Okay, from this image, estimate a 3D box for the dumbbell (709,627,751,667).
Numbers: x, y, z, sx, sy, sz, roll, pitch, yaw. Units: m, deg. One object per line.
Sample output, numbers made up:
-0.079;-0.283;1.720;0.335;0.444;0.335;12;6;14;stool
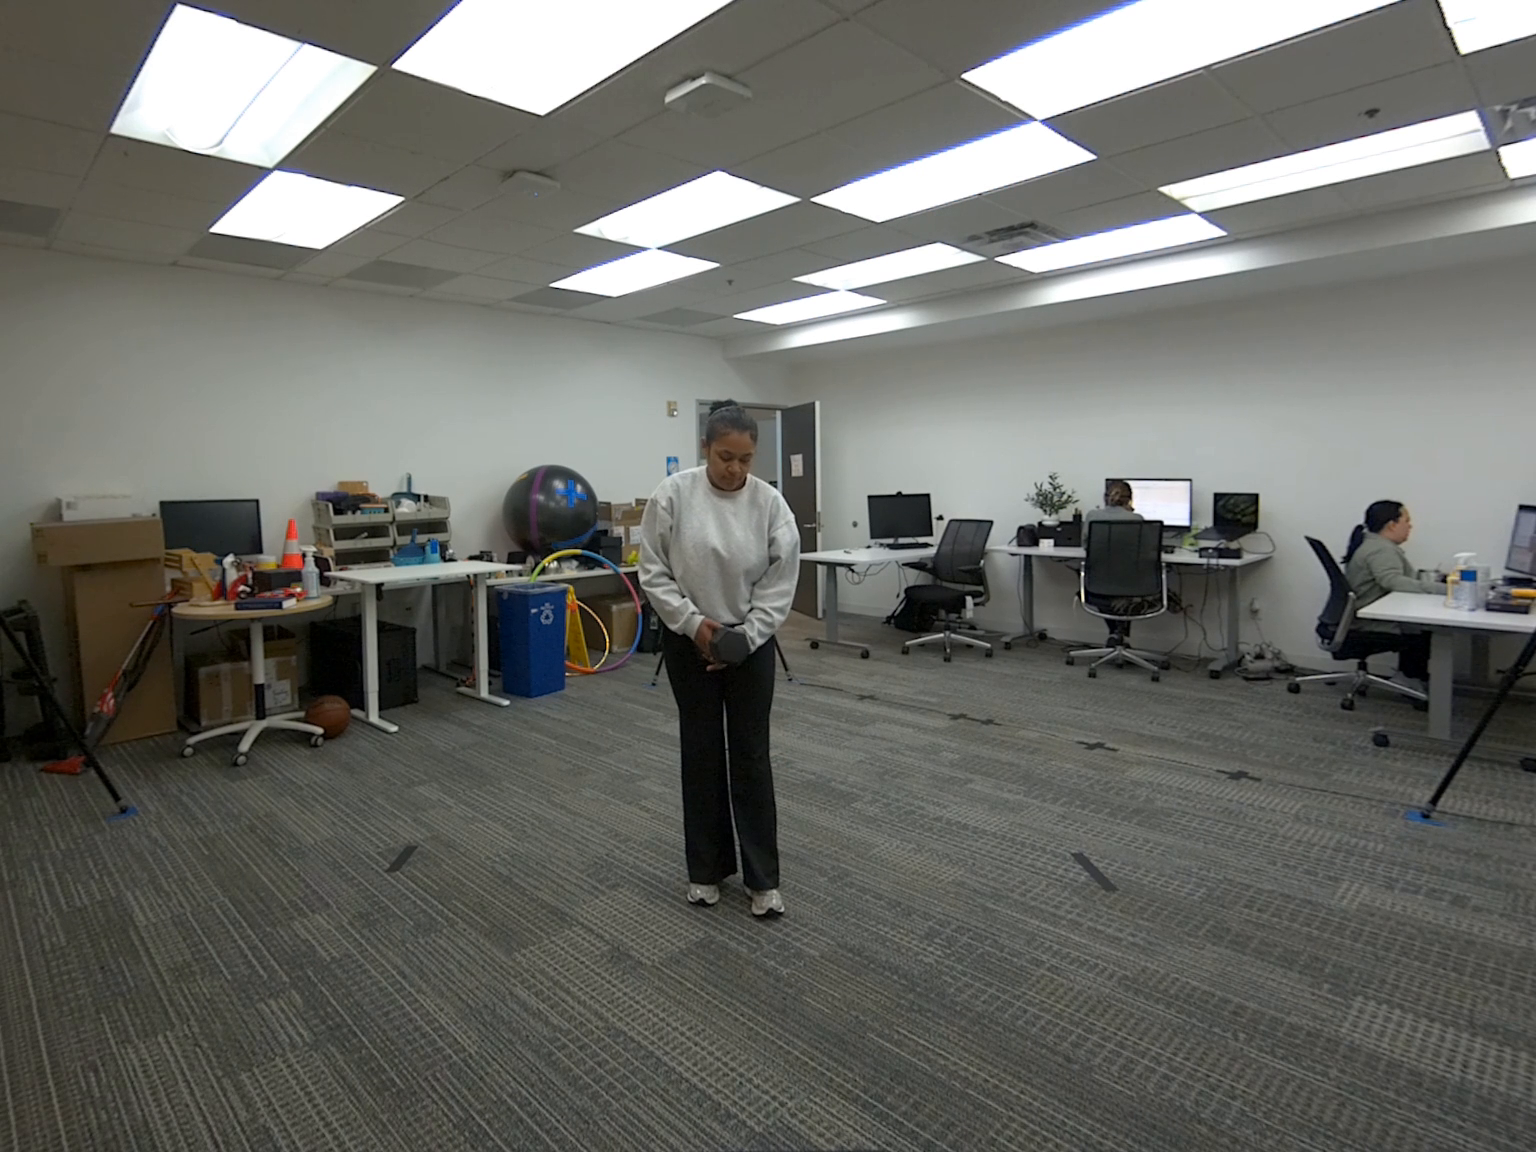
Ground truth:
-0.148;0.223;2.658;0.107;0.123;0.296;43;-13;-10;dumbbell
